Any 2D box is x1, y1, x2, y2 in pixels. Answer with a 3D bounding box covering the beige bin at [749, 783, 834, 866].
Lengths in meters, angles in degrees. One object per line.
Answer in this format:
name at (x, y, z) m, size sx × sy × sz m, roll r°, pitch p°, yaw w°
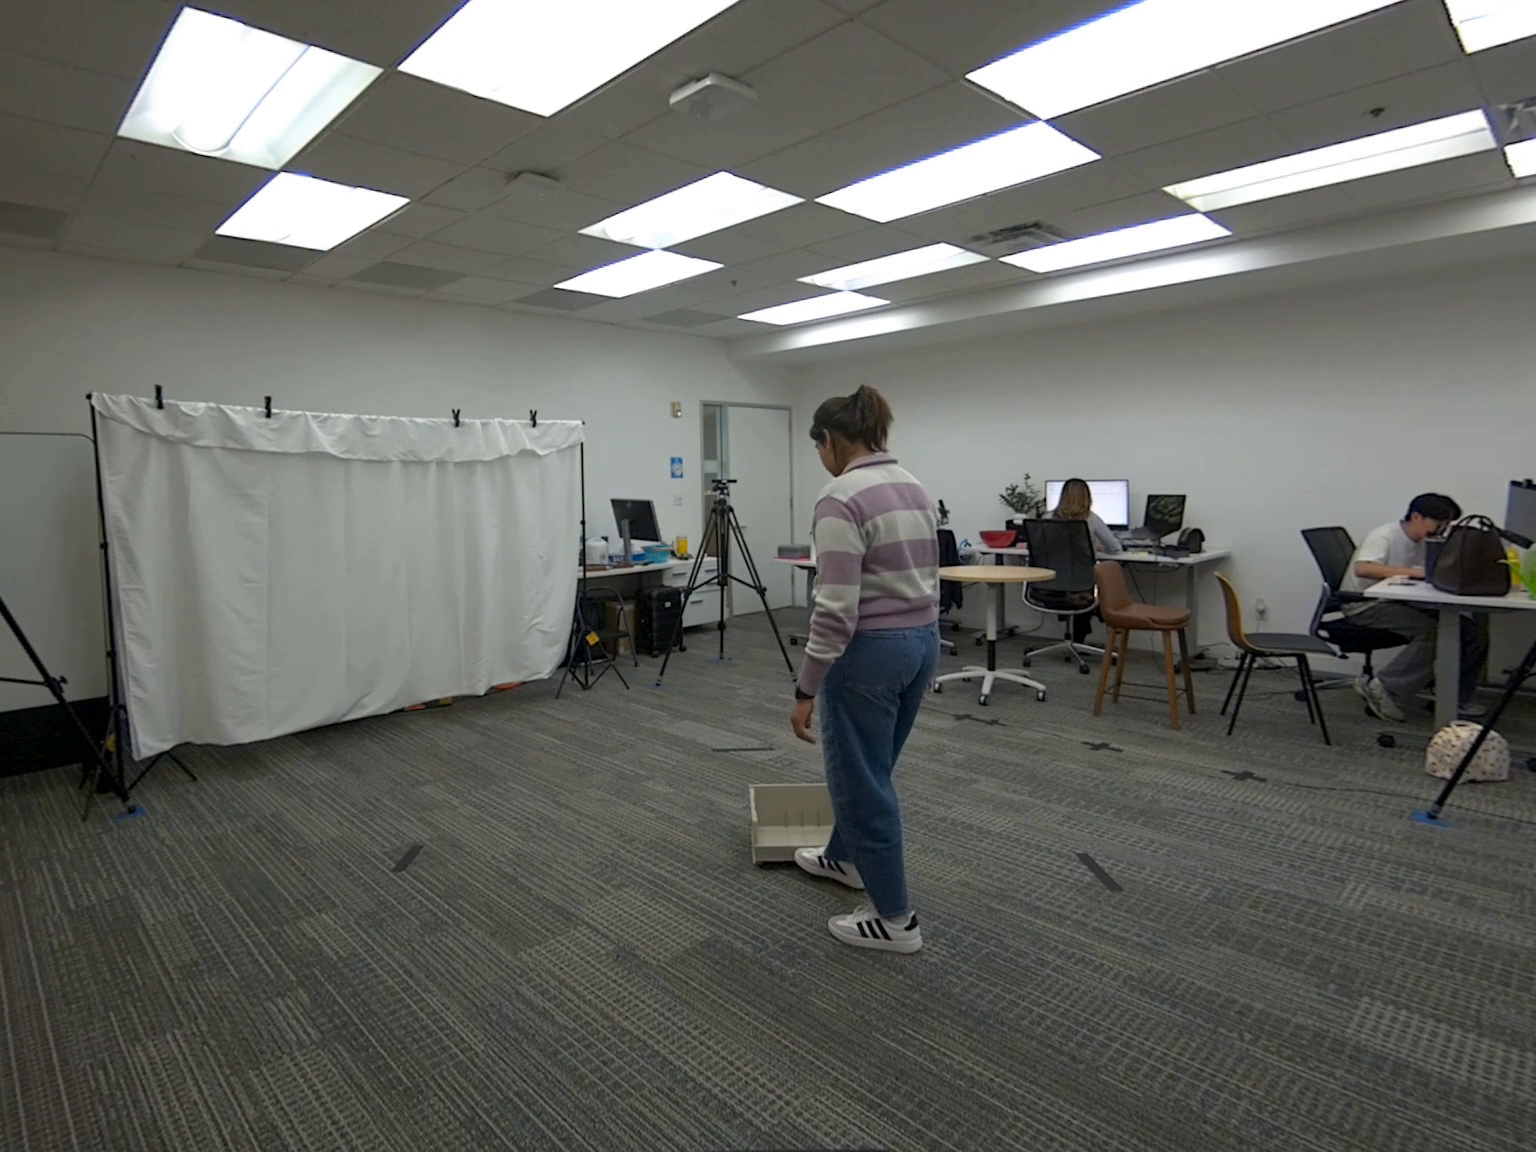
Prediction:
beige bin at (0.149, 0.942, 3.233) m, size 0.422 × 0.188 × 0.379 m, roll -2°, pitch 6°, yaw -2°
